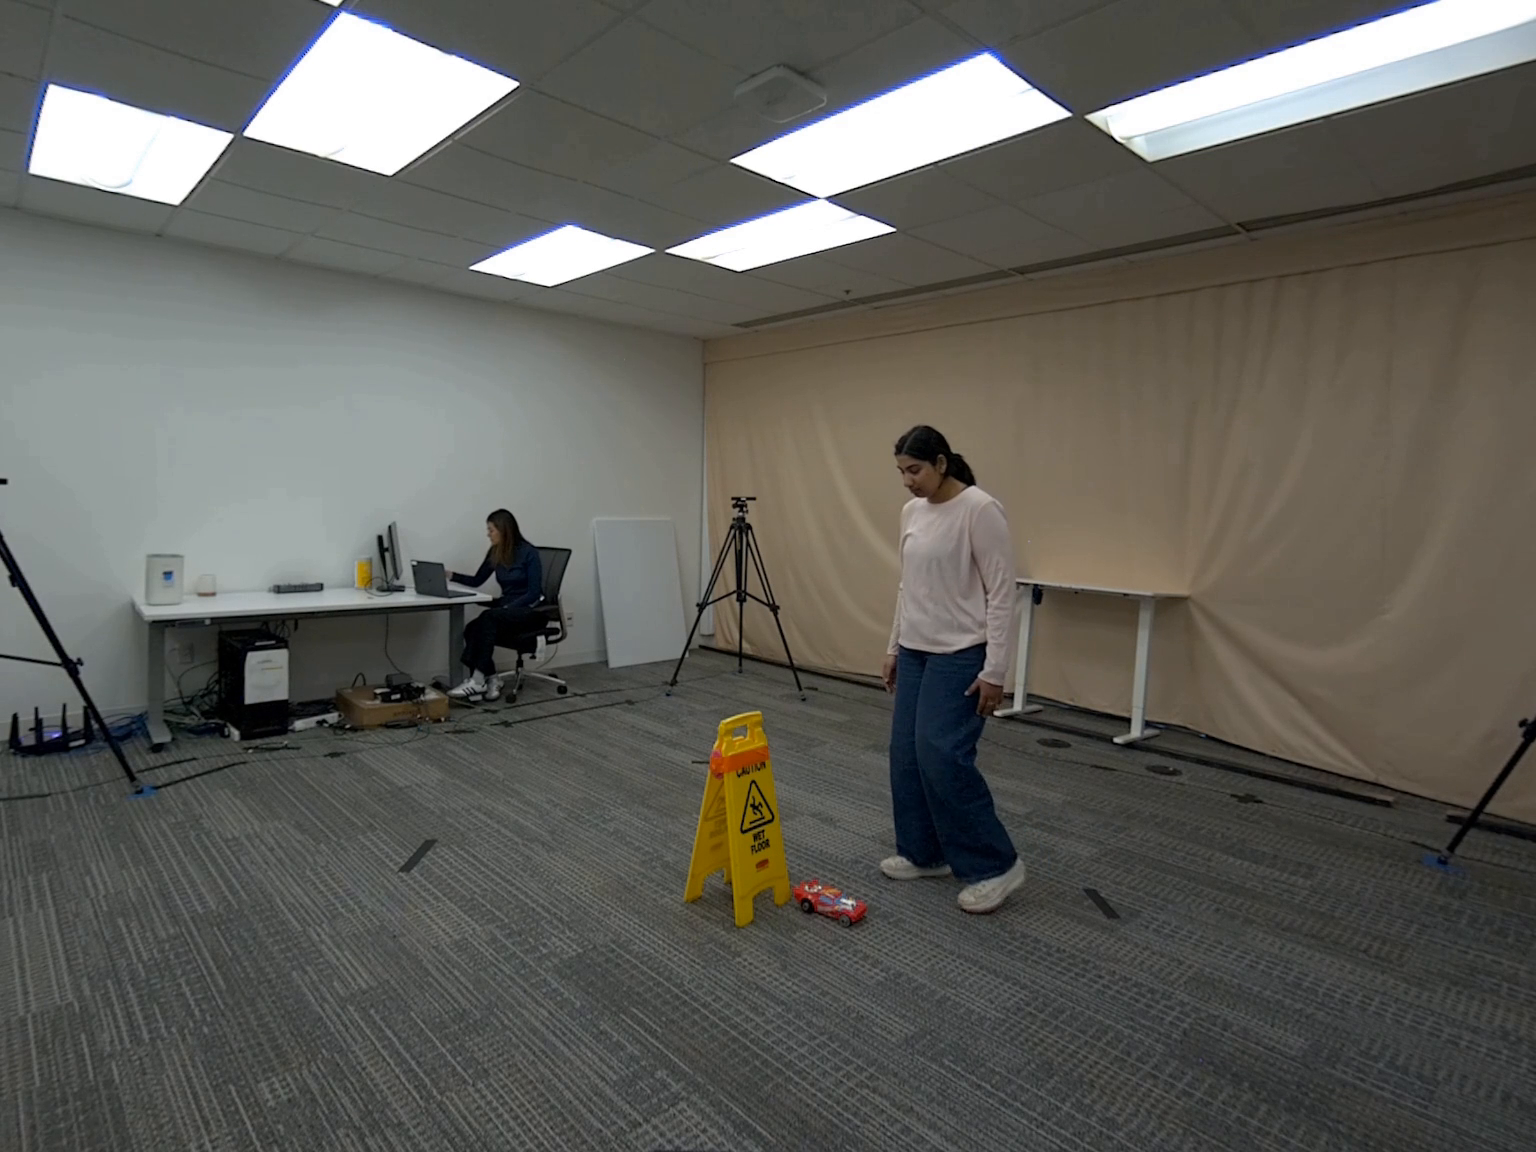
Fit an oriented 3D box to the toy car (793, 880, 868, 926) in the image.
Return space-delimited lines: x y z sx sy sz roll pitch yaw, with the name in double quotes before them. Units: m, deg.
"toy car" 0.195 1.104 2.846 0.262 0.083 0.127 18 13 34
